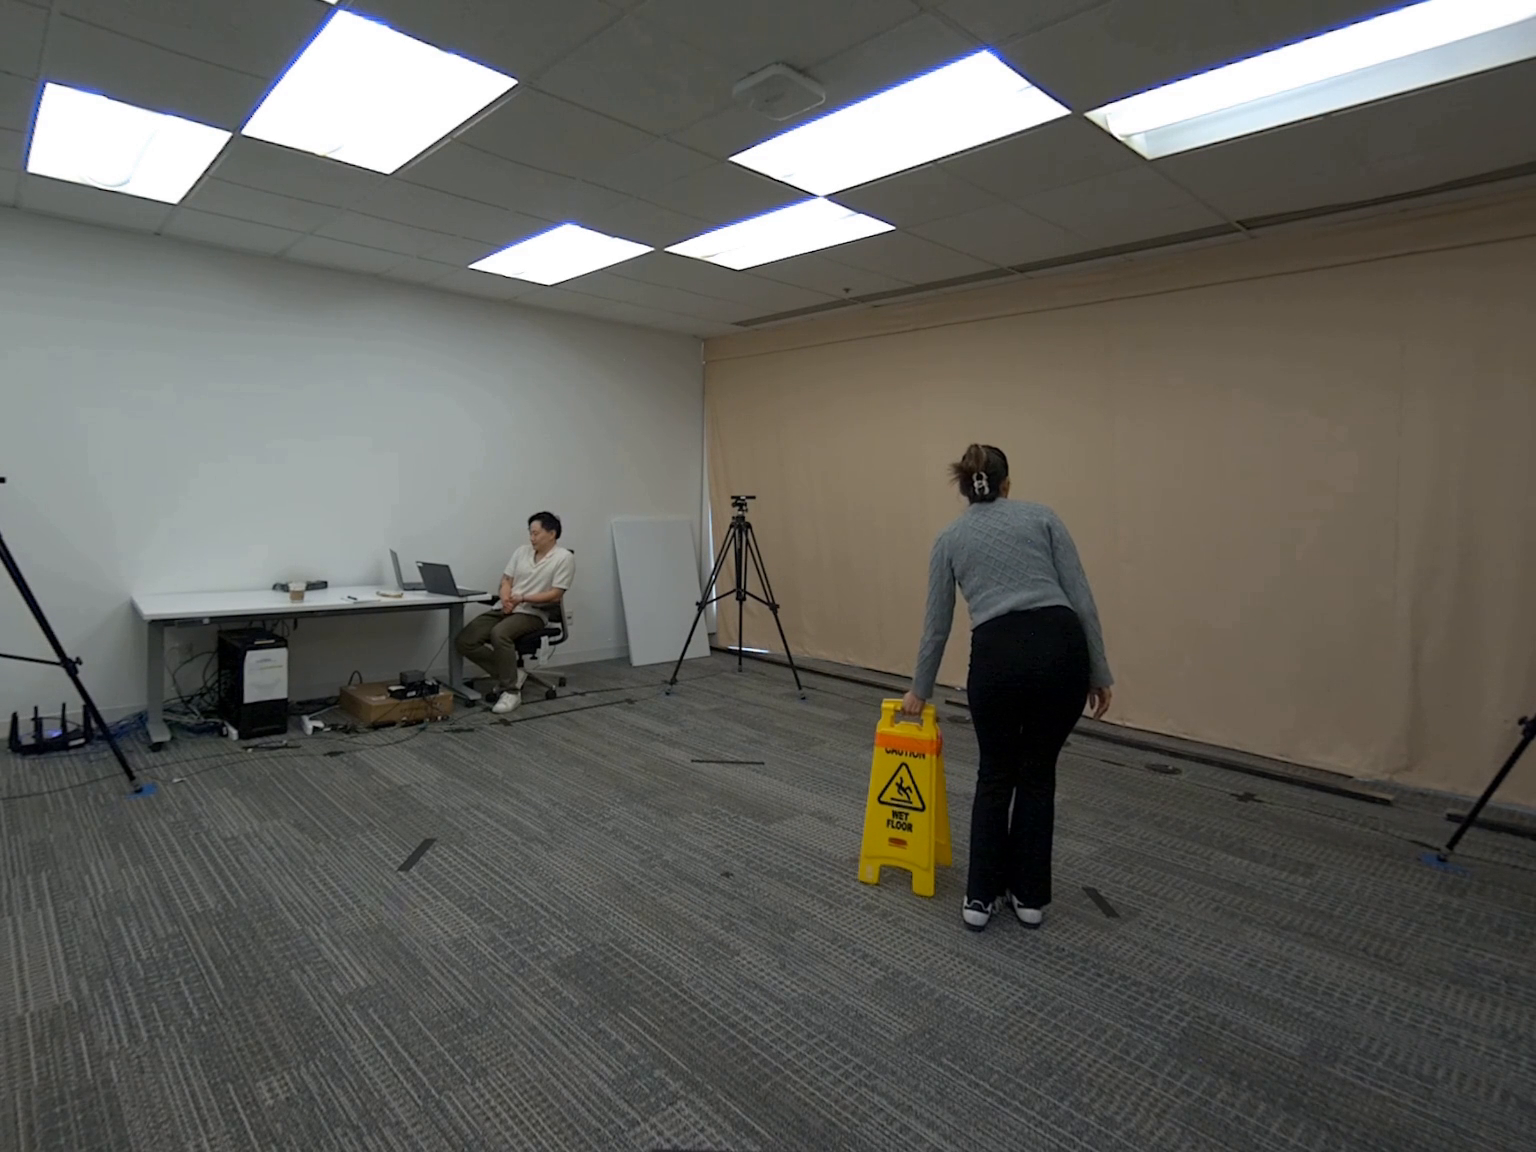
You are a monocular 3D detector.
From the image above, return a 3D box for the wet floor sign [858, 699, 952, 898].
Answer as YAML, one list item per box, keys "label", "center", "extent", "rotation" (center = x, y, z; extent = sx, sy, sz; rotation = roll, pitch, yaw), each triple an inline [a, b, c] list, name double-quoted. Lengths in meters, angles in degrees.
- label: "wet floor sign"
  center: [0.511, 0.777, 3.115]
  extent: [0.288, 0.644, 0.285]
  rotation: [3, 4, 26]
